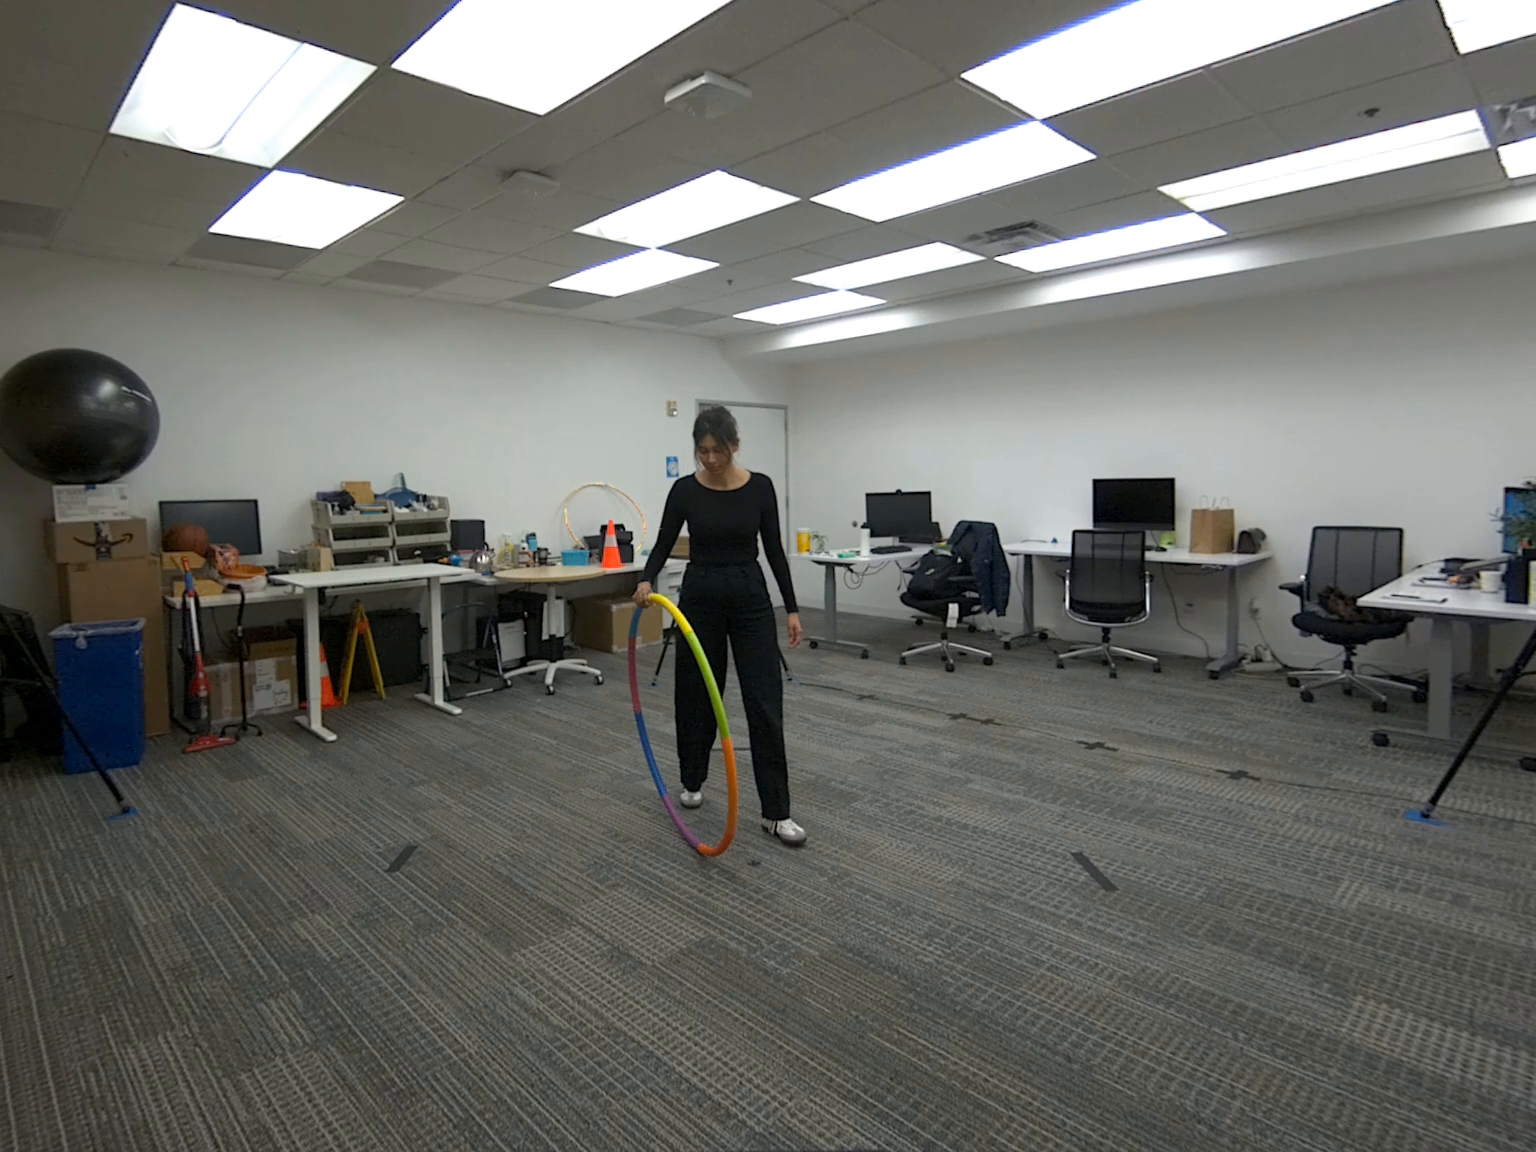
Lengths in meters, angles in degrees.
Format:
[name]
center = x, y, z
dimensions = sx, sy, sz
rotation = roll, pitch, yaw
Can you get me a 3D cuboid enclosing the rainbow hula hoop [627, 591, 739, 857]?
[rainbow hula hoop]
center = -0.331, 0.550, 3.211
dimensions = 0.035, 0.972, 1.003
rotation = -10, 8, -25
